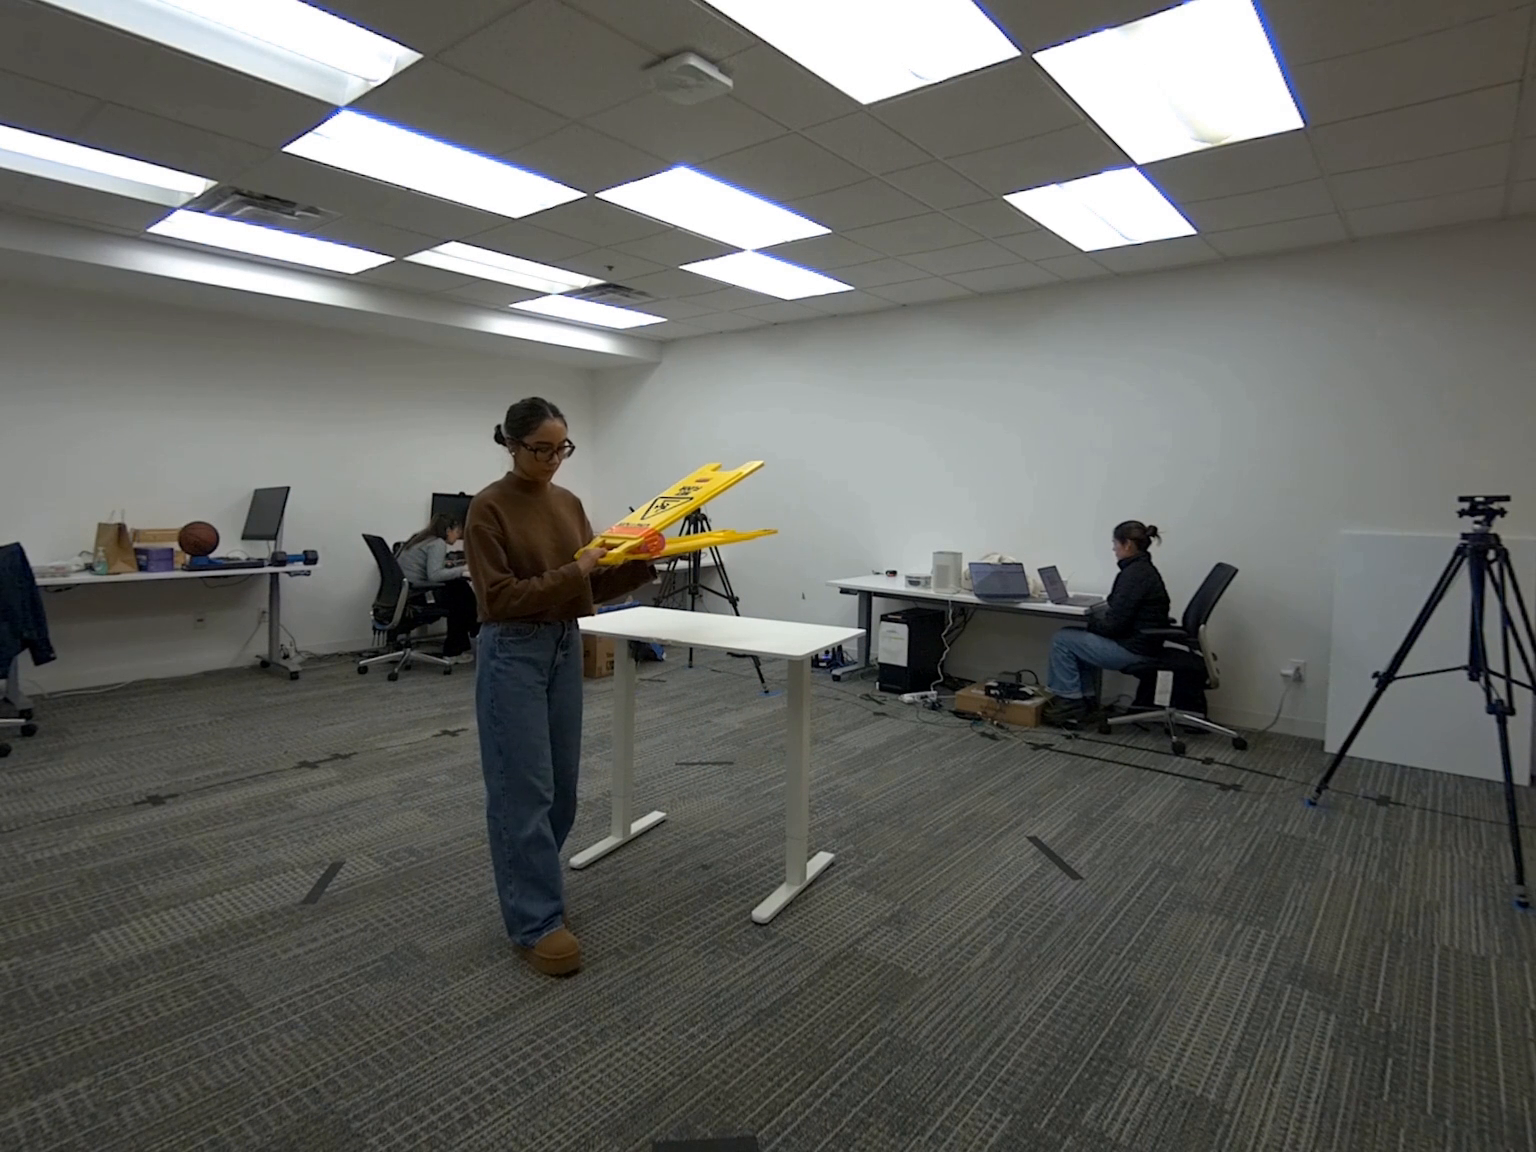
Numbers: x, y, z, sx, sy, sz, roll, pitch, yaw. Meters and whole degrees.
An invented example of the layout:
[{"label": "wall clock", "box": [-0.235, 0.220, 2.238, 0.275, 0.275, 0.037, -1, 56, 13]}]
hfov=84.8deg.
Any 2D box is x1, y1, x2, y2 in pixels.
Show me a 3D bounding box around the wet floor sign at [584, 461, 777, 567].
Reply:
[{"label": "wet floor sign", "box": [-0.307, -0.151, 2.679, 0.292, 0.285, 0.635, 4, 22, 44]}]
